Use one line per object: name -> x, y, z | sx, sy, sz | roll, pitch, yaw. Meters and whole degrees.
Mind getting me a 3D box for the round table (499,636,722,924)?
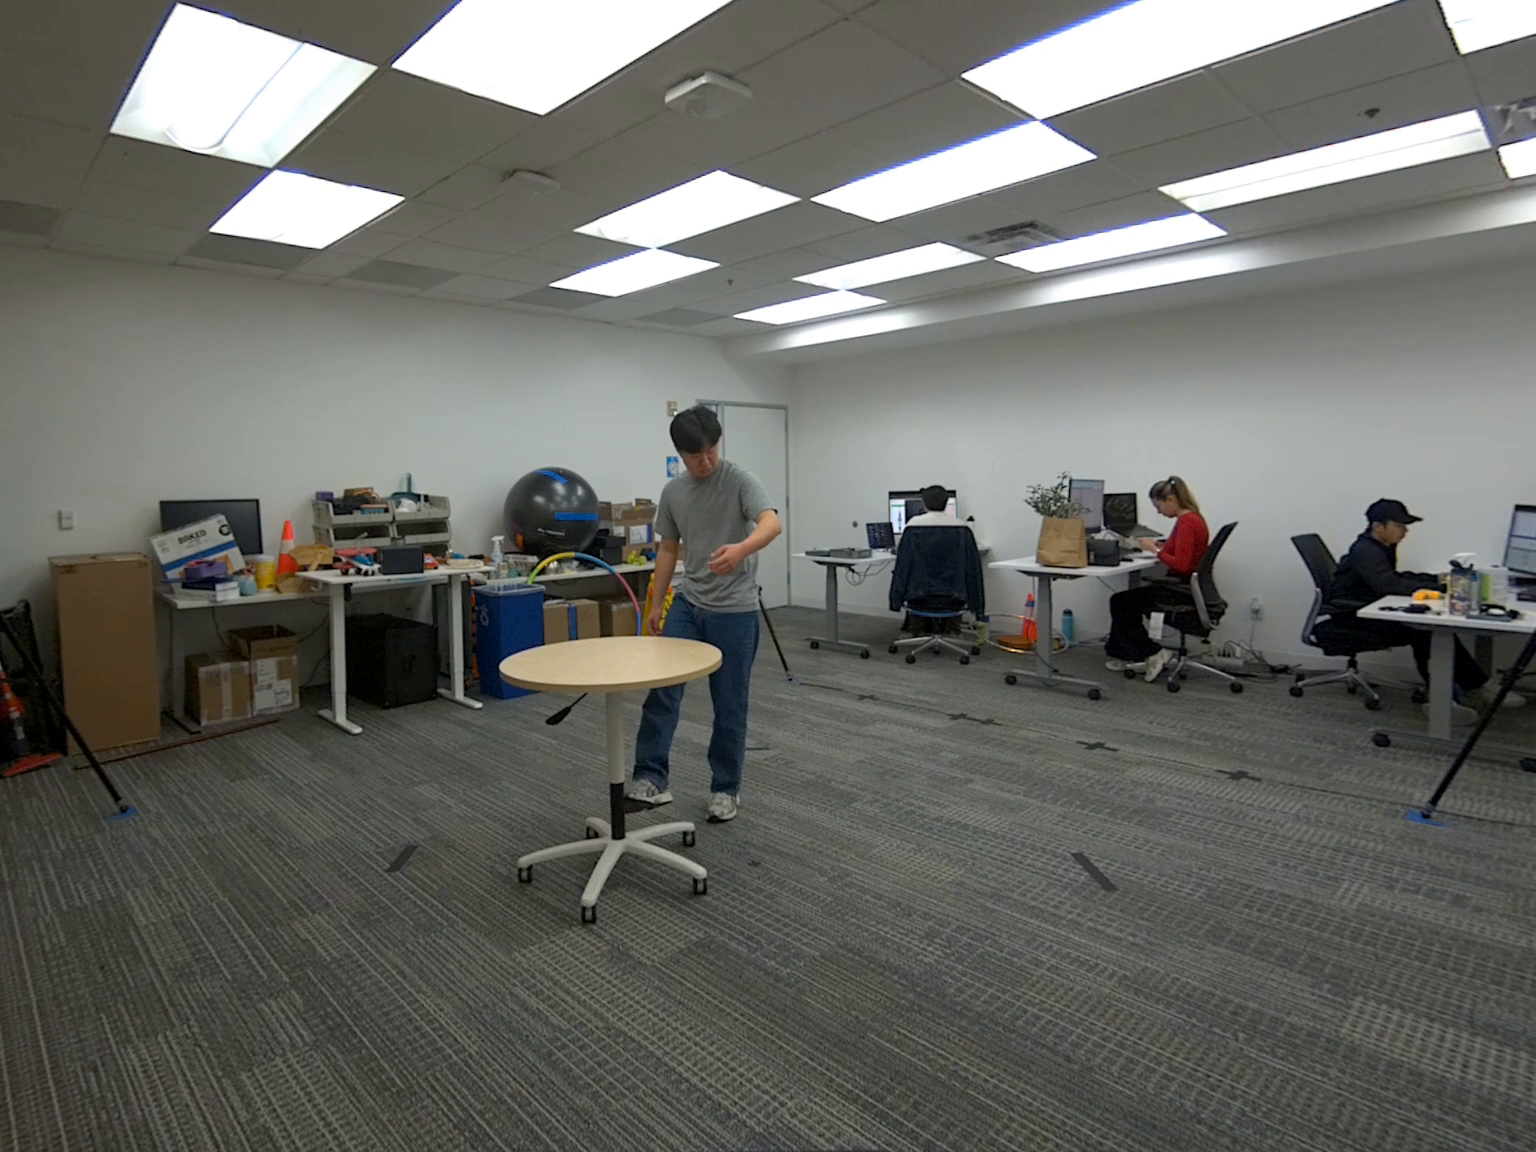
round table -> -0.535, 0.678, 3.010 | 0.763, 0.790, 0.768 | -2, 5, -2
